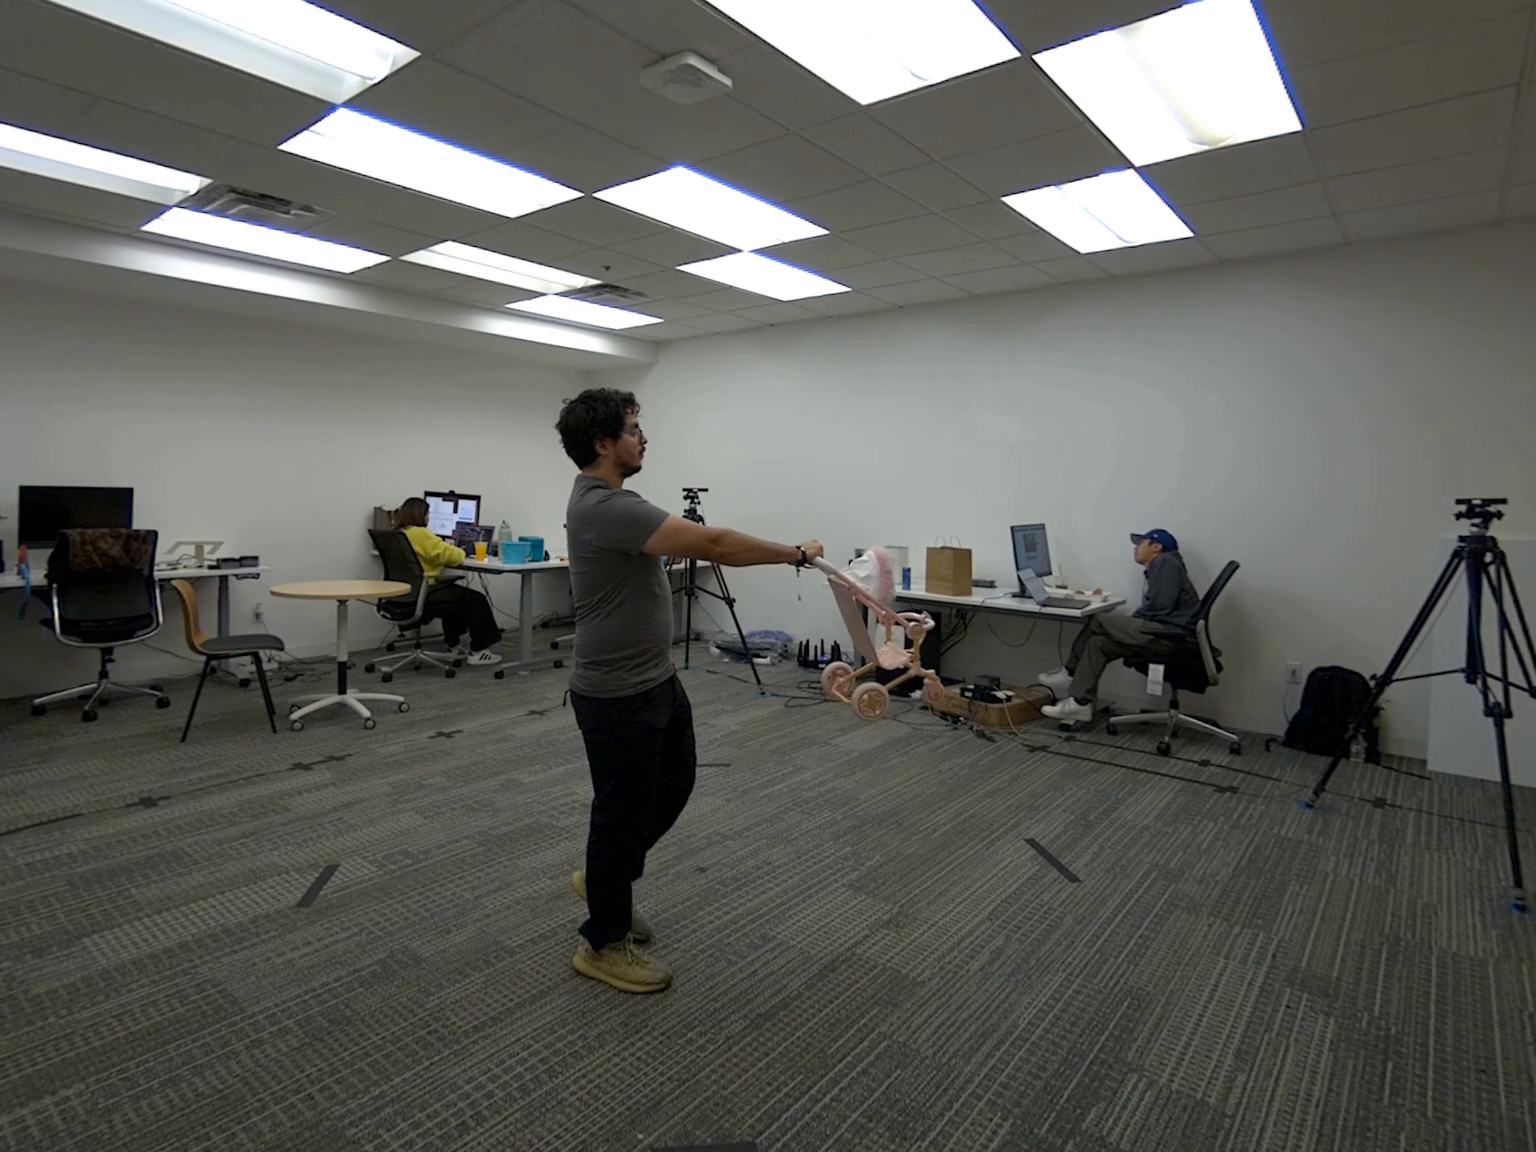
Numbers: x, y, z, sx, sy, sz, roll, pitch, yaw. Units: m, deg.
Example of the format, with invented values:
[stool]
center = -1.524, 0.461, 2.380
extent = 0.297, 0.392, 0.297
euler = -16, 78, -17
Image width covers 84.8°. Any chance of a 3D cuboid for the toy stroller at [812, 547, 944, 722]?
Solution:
[toy stroller]
center = 0.314, 0.162, 2.455
extent = 0.339, 0.530, 0.286
euler = -13, 8, -9
